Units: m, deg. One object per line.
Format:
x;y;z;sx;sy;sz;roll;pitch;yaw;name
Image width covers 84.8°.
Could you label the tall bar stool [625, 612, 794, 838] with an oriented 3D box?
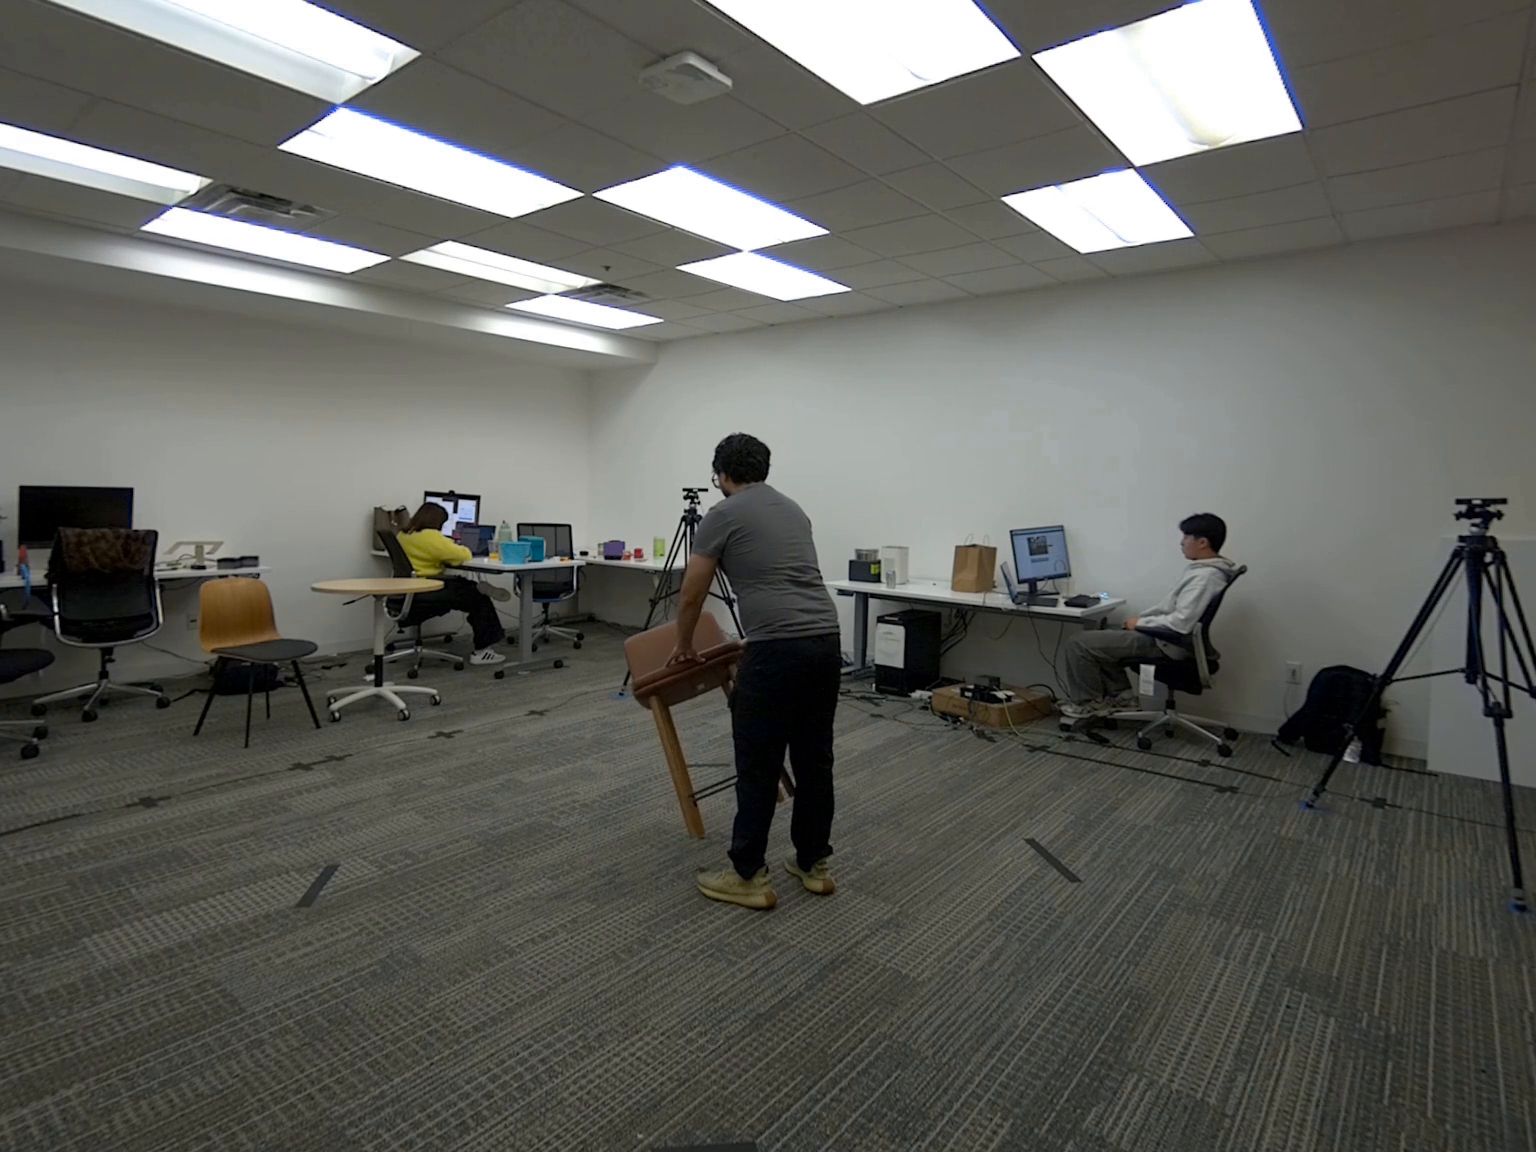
-0.277;0.530;3.364;0.454;0.912;0.458;-22;-19;-8;tall bar stool
